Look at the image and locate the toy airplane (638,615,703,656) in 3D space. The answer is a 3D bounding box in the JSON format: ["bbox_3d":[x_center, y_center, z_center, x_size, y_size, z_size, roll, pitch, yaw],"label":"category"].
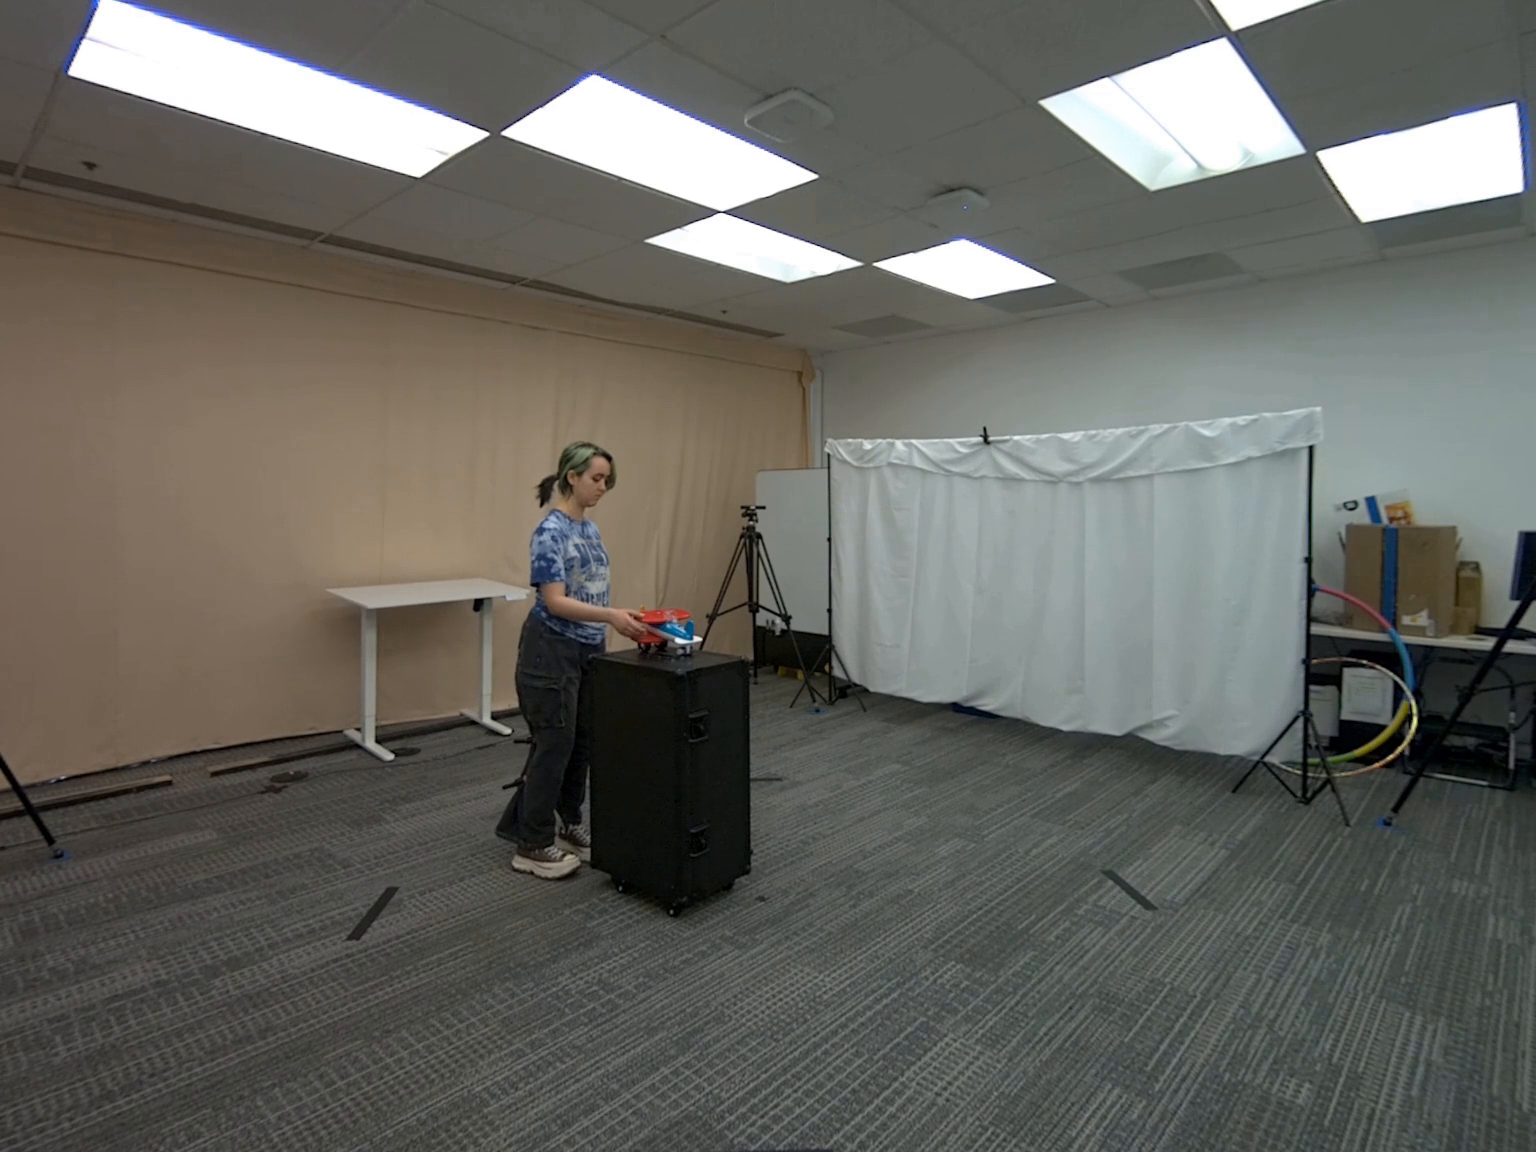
[{"bbox_3d":[-0.361,0.206,3.137,0.263,0.156,0.248,0,3,12],"label":"toy airplane"}]
